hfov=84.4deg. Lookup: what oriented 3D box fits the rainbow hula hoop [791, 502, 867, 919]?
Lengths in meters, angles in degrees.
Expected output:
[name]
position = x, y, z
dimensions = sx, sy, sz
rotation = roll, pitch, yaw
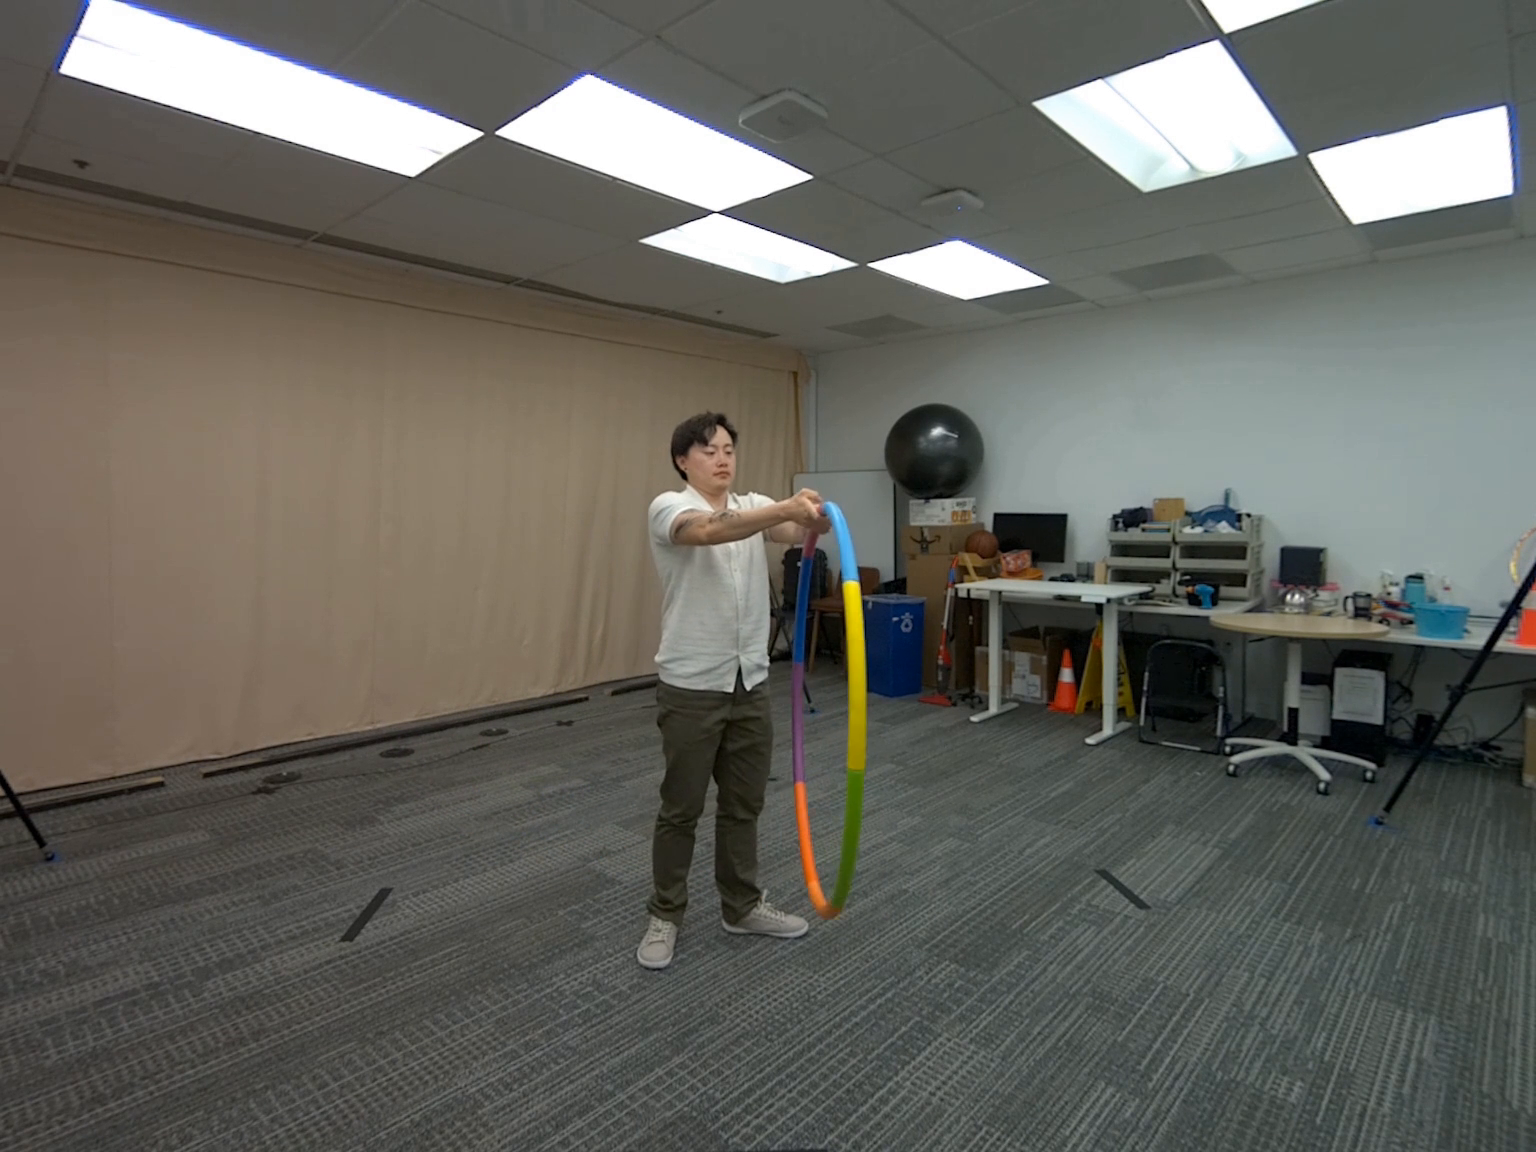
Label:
[rainbow hula hoop]
position = 0.136, 0.311, 2.109
dimensions = 0.035, 0.977, 0.979
rotation = 3, 4, 0
